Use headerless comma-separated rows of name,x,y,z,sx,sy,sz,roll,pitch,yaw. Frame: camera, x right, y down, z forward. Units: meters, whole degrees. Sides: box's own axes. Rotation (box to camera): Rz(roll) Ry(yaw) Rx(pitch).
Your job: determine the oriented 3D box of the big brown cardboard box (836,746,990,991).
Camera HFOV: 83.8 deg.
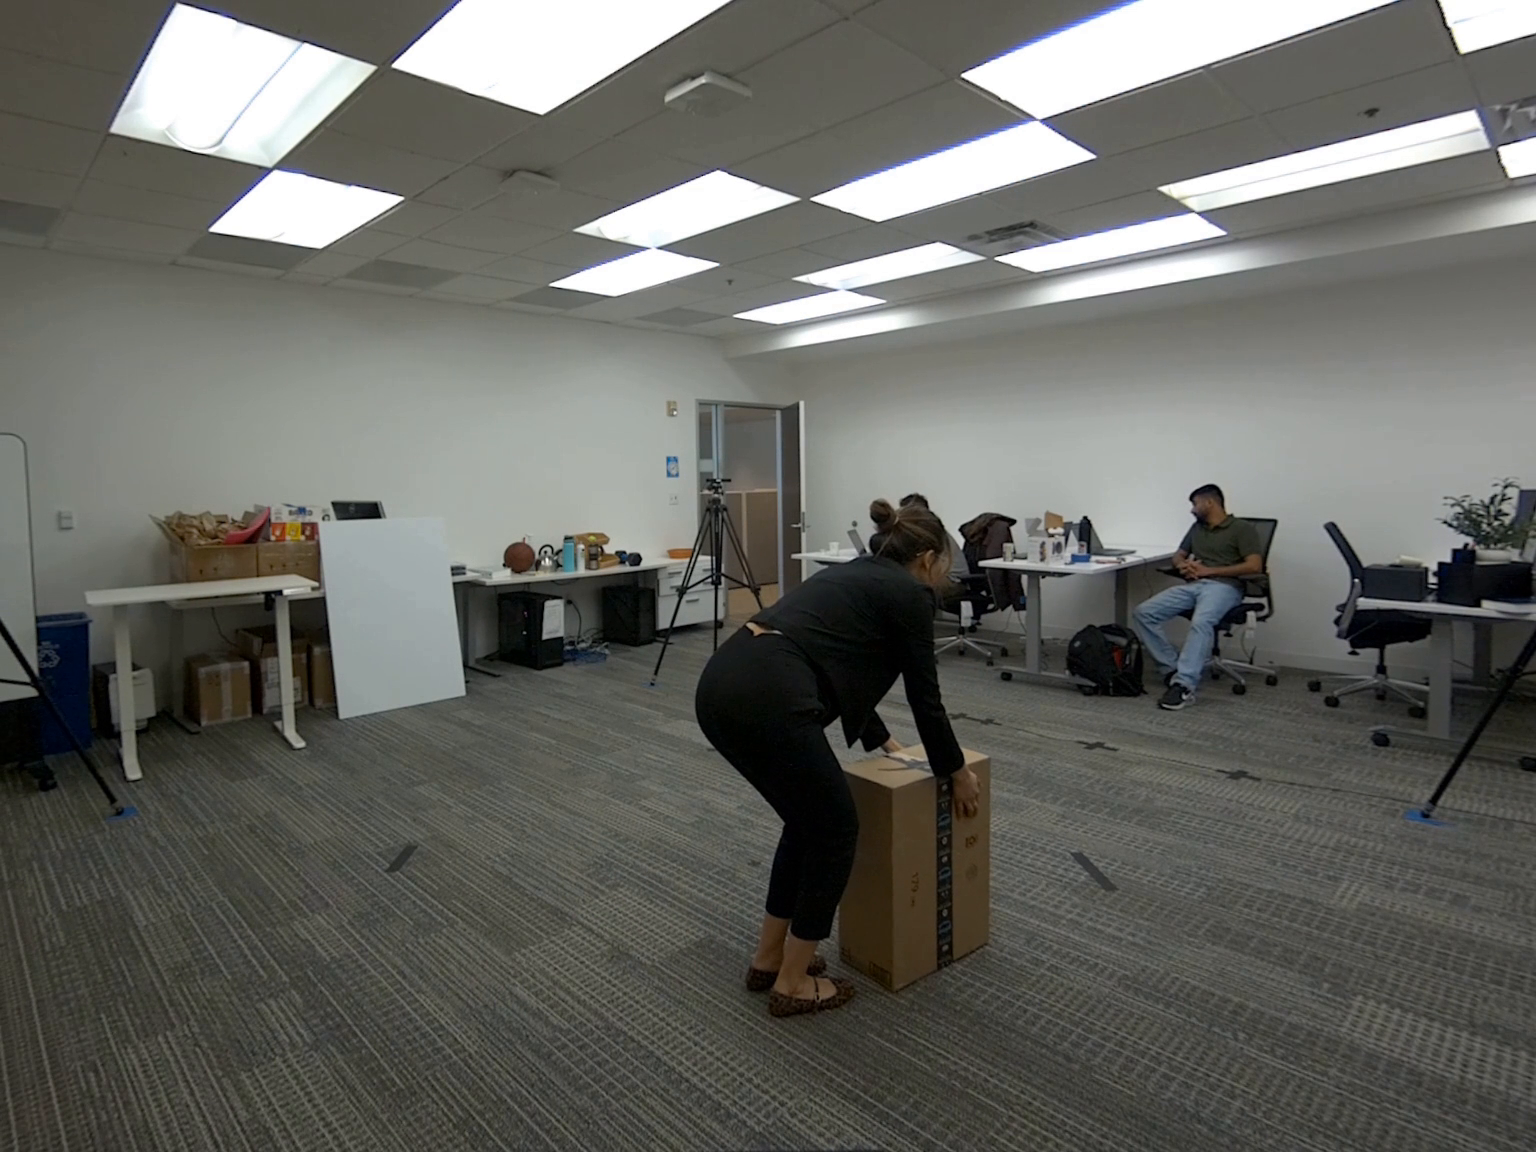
big brown cardboard box,0.424,0.821,2.504,0.407,0.587,0.240,-4,5,-36
